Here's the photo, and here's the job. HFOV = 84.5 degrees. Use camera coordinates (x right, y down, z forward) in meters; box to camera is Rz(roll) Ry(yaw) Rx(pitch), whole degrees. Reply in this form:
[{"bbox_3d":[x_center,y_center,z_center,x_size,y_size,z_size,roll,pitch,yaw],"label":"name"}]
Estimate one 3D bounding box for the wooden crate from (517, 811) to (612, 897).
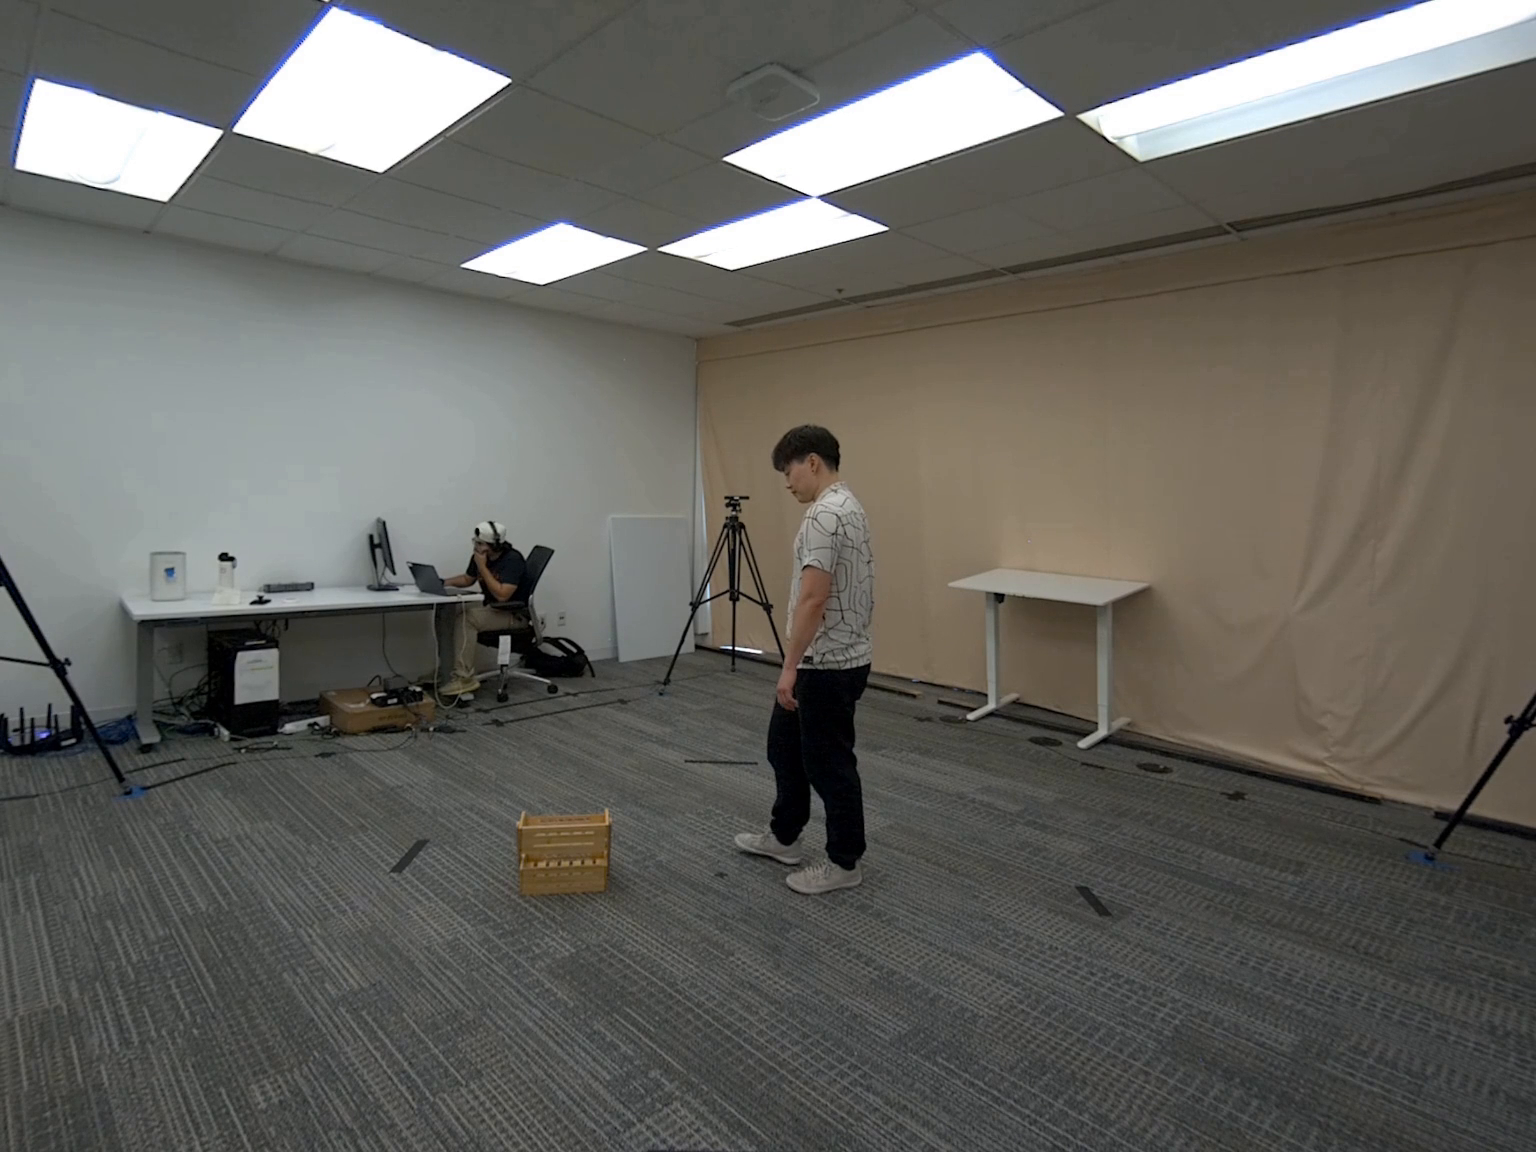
[{"bbox_3d":[-0.744,0.964,3.026,0.321,0.272,0.306,0,5,-12],"label":"wooden crate"}]
